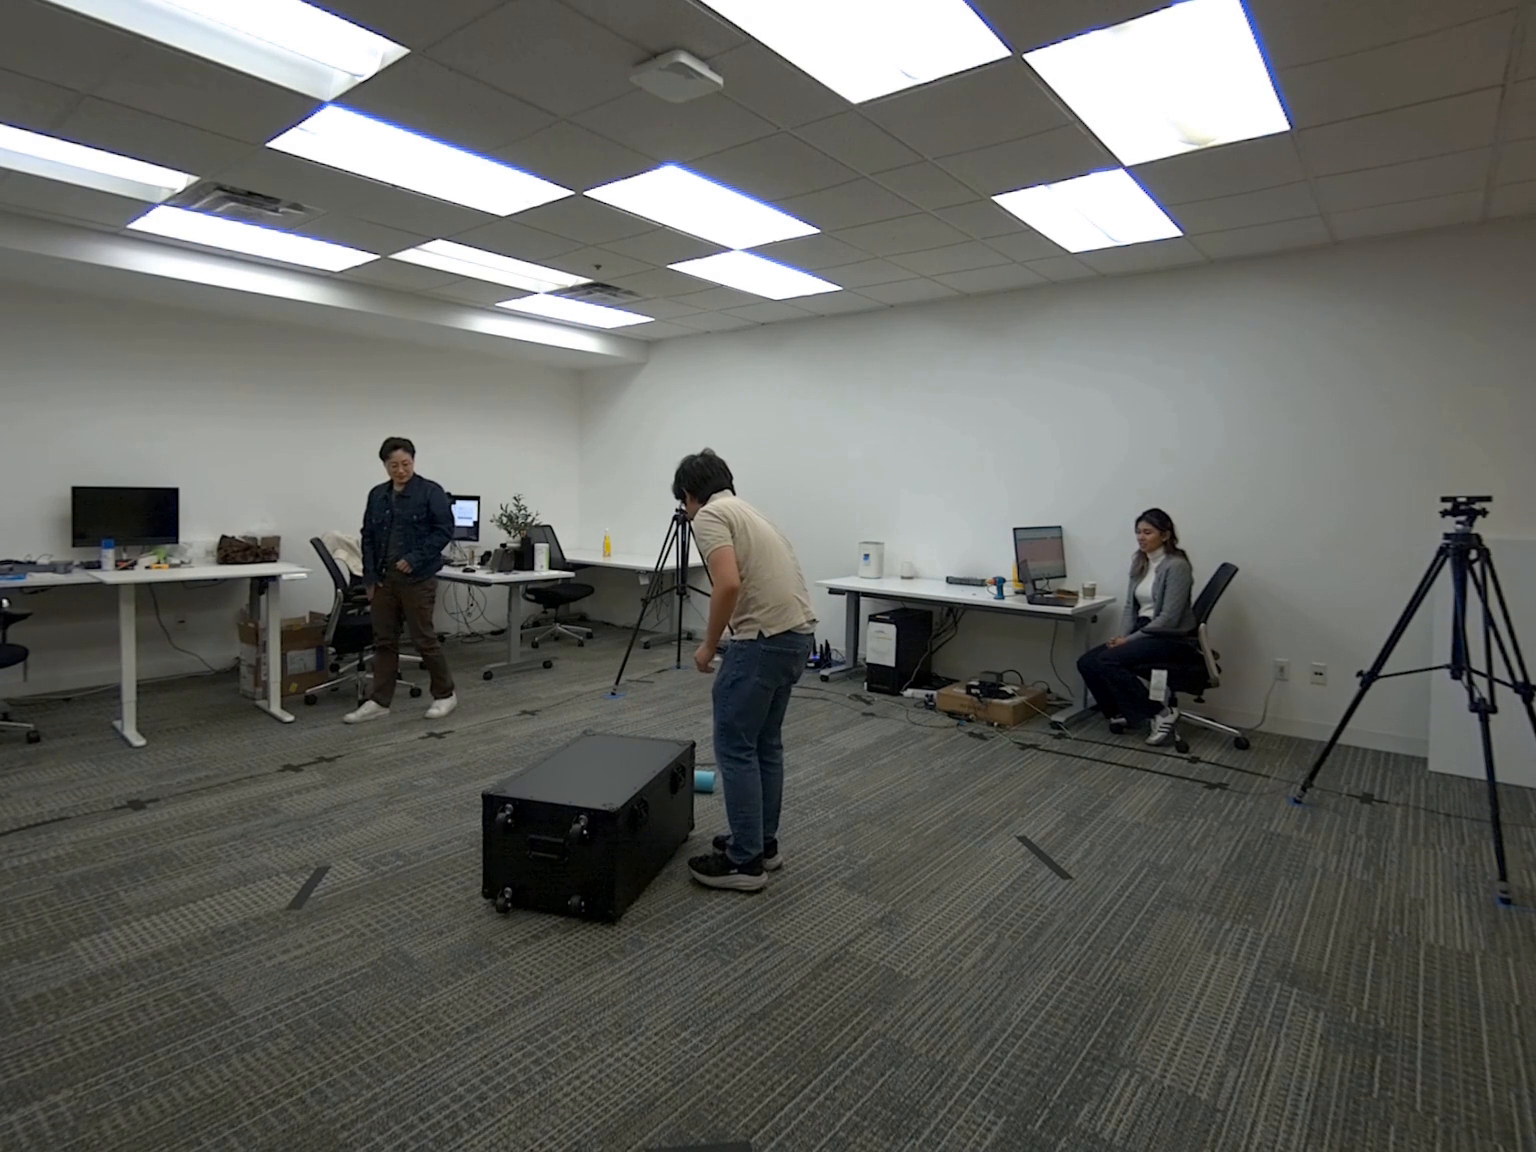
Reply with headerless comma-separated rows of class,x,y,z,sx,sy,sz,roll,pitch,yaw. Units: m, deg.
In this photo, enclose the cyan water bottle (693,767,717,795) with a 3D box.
cyan water bottle,-0.394,0.931,3.915,0.285,0.092,0.092,1,4,6
